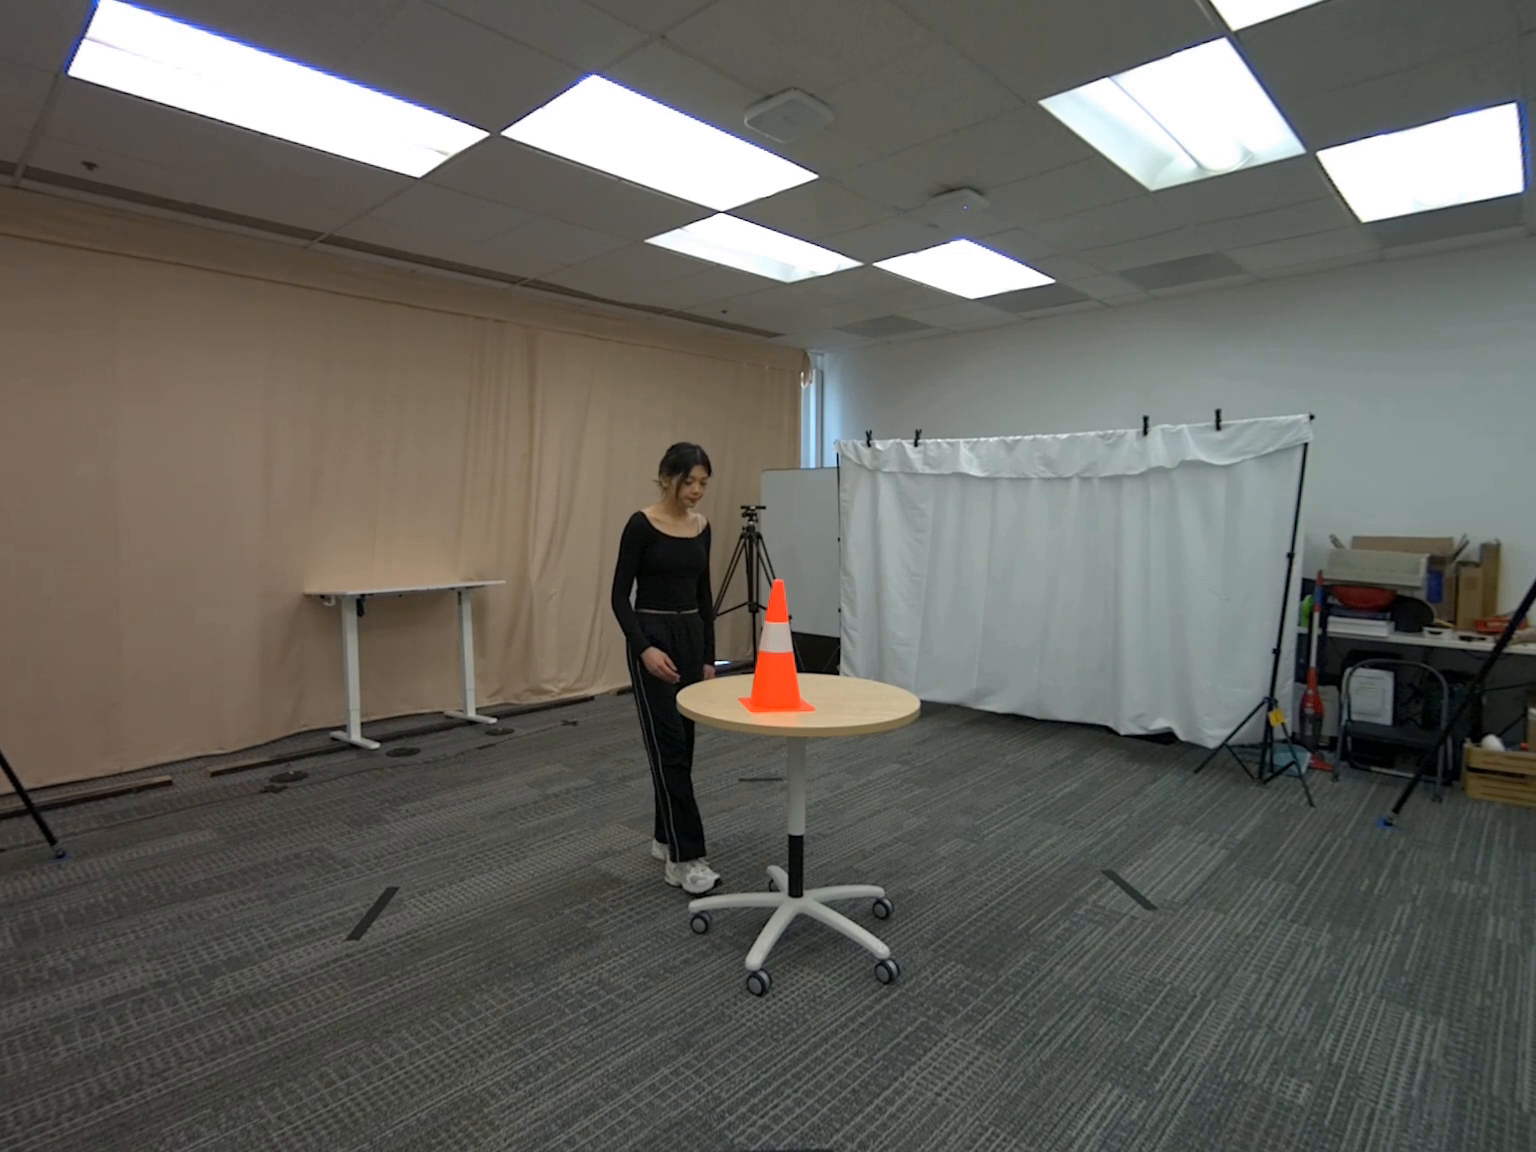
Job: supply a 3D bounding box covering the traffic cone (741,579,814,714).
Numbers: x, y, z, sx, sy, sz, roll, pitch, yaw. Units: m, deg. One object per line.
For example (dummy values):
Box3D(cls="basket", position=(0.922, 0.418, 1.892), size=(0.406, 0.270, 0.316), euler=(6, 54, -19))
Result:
Box3D(cls="traffic cone", position=(0.036, 0.206, 2.563), size=(0.201, 0.383, 0.207), euler=(0, 3, -18))
